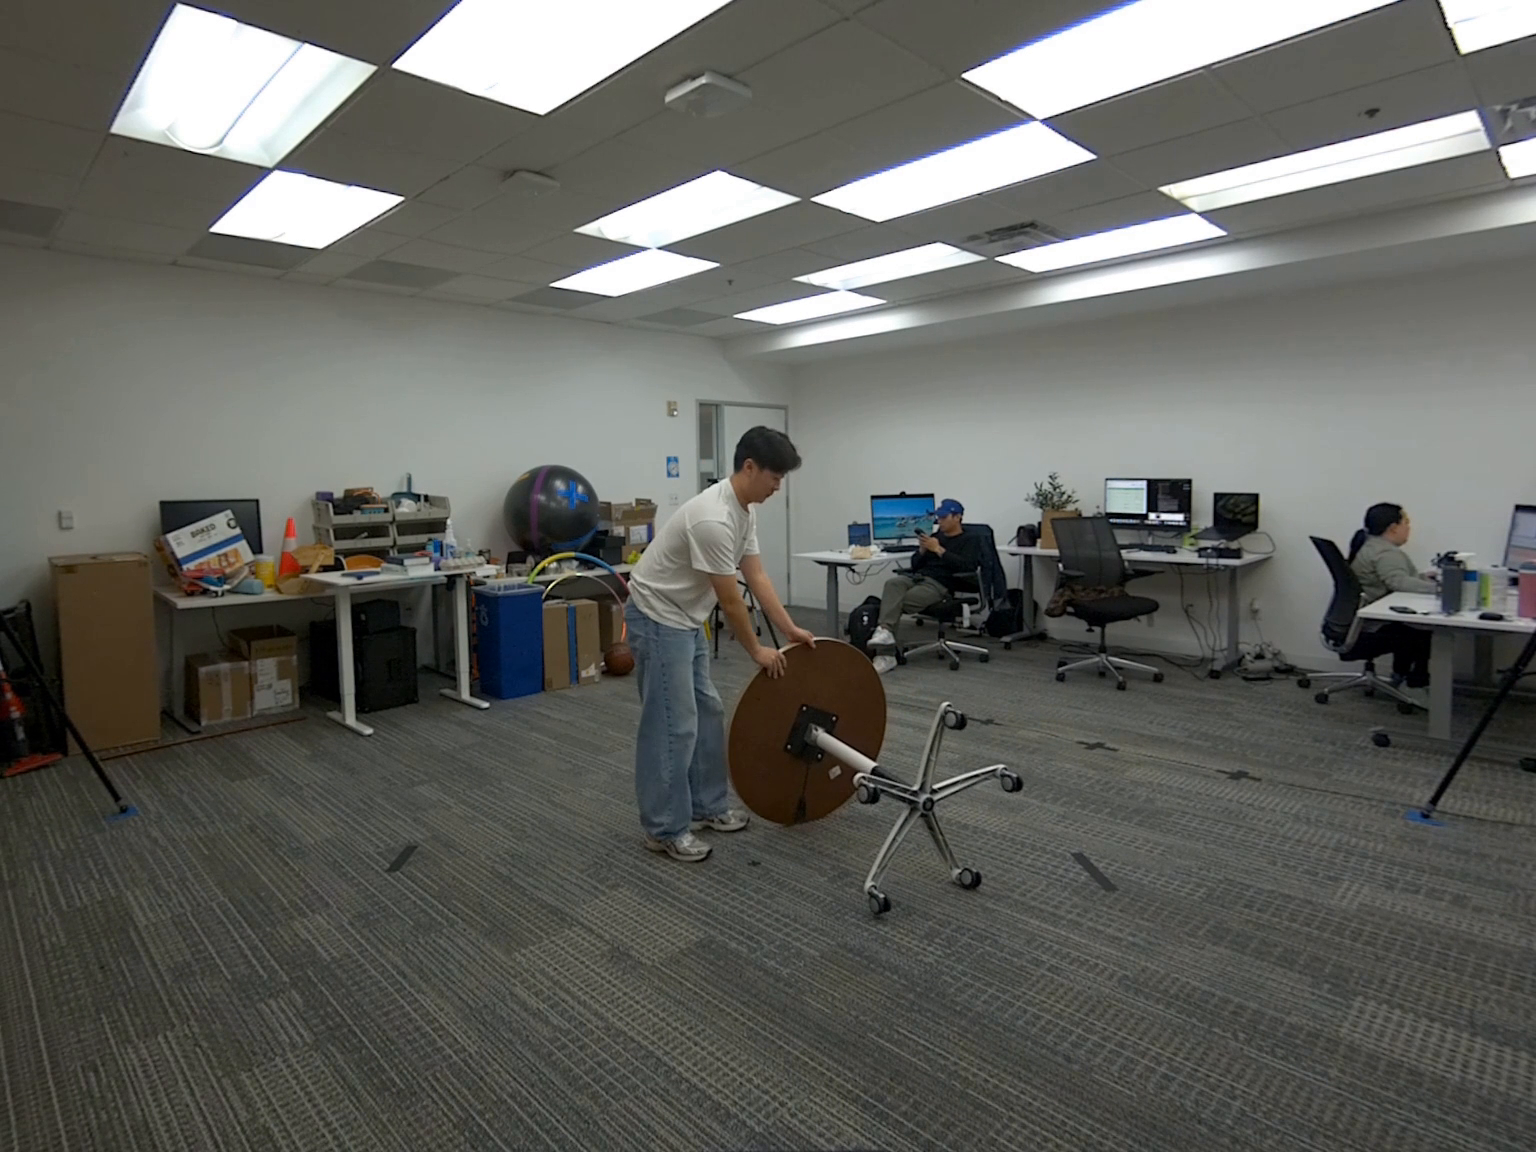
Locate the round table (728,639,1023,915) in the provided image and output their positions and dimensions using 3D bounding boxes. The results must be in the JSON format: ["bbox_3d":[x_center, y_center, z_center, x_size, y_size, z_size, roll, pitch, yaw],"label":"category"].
[{"bbox_3d":[0.375,0.700,3.093,0.746,0.757,0.820,-4,12,-30],"label":"round table"}]
